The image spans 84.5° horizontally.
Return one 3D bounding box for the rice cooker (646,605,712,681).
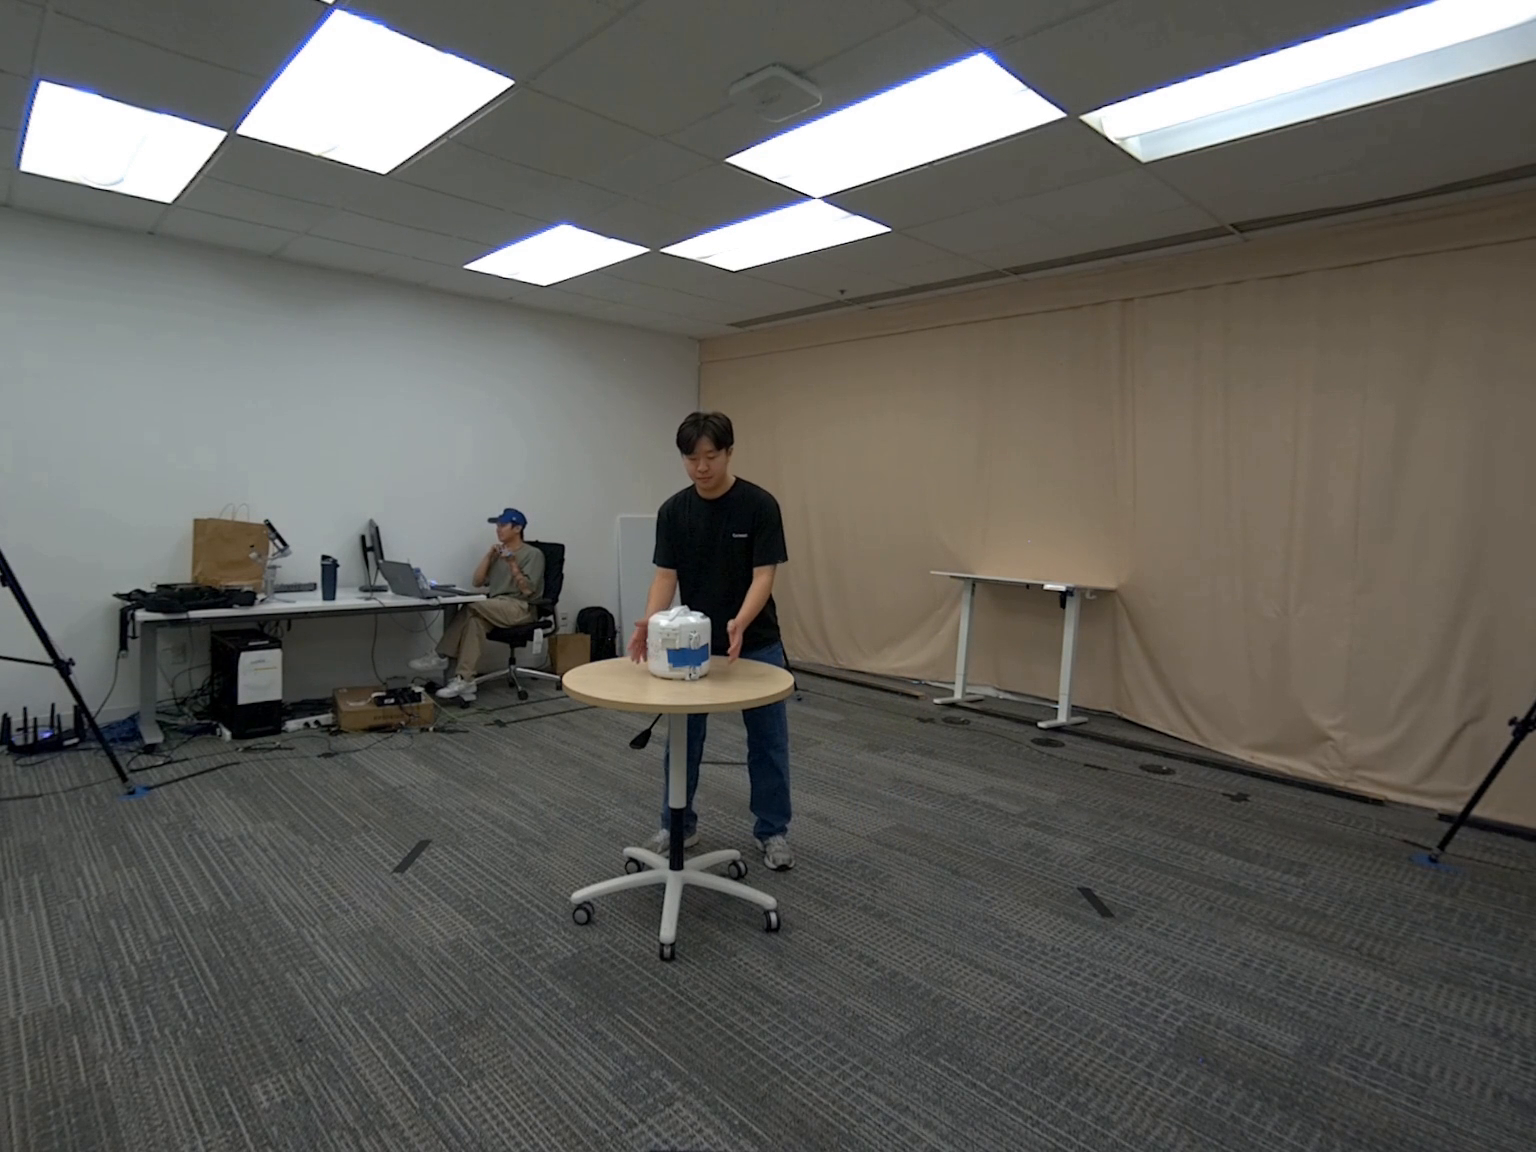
[{"bbox_3d":[-0.312,0.218,2.815,0.220,0.232,0.218,3,5,17],"label":"rice cooker"}]
